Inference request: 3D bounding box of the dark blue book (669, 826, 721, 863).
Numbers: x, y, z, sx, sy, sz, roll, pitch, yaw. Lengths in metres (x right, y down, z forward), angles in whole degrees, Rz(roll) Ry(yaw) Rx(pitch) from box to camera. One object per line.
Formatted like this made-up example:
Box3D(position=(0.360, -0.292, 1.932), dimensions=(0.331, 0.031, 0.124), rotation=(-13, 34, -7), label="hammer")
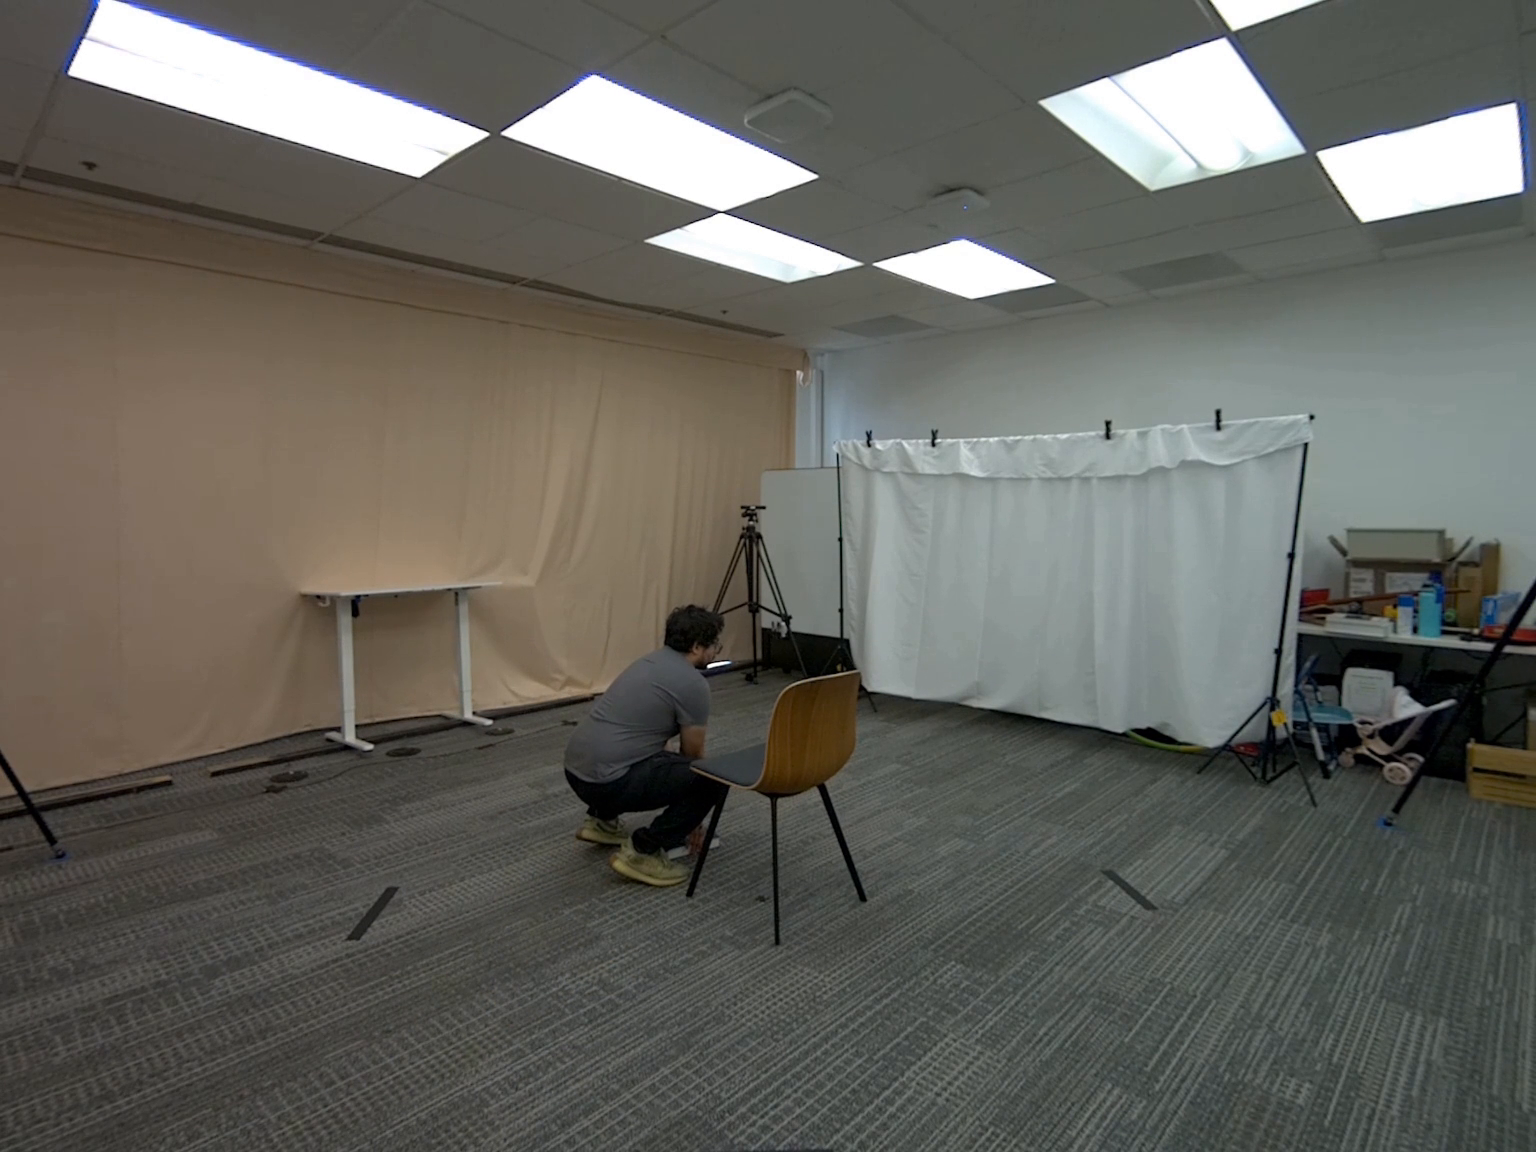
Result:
Box3D(position=(-0.341, 1.085, 3.434), dimensions=(0.238, 0.045, 0.168), rotation=(-4, 7, -34), label="dark blue book")
